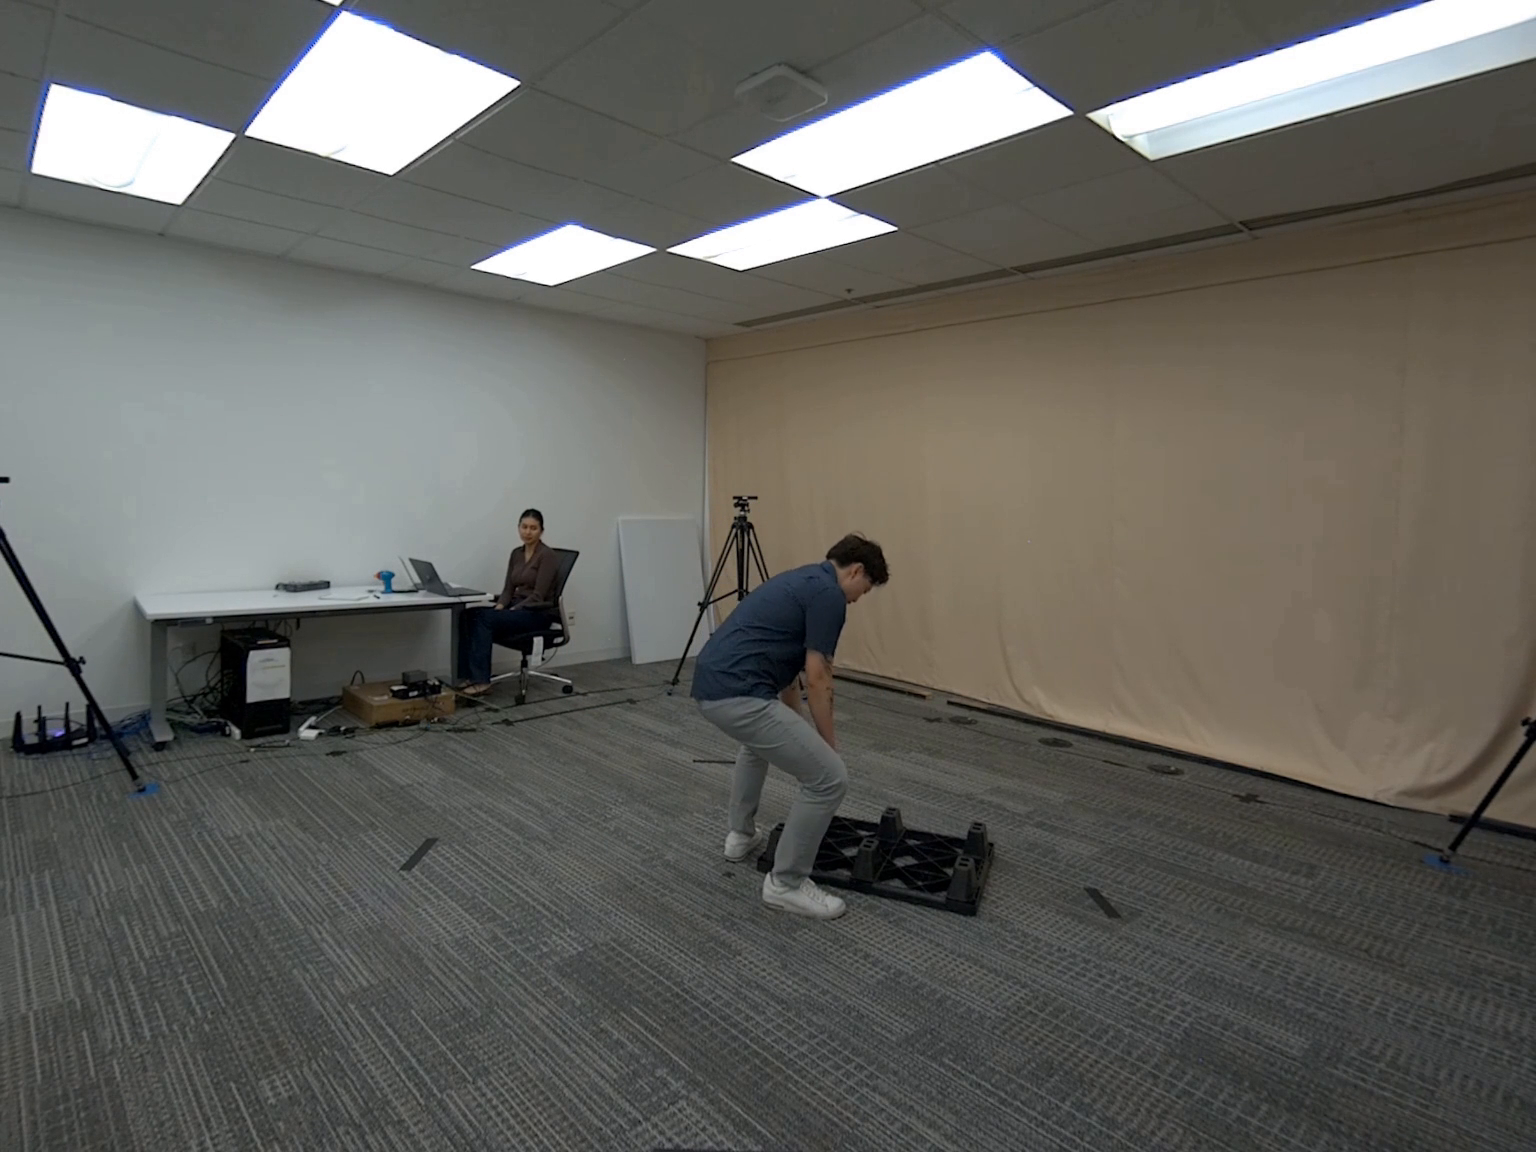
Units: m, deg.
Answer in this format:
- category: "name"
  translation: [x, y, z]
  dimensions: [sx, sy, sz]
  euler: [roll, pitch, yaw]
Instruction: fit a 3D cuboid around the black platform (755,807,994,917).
- category: "black platform"
  translation: [0.429, 1.037, 3.257]
  dimensions: [0.820, 0.143, 0.596]
  euler: [4, 6, 22]
